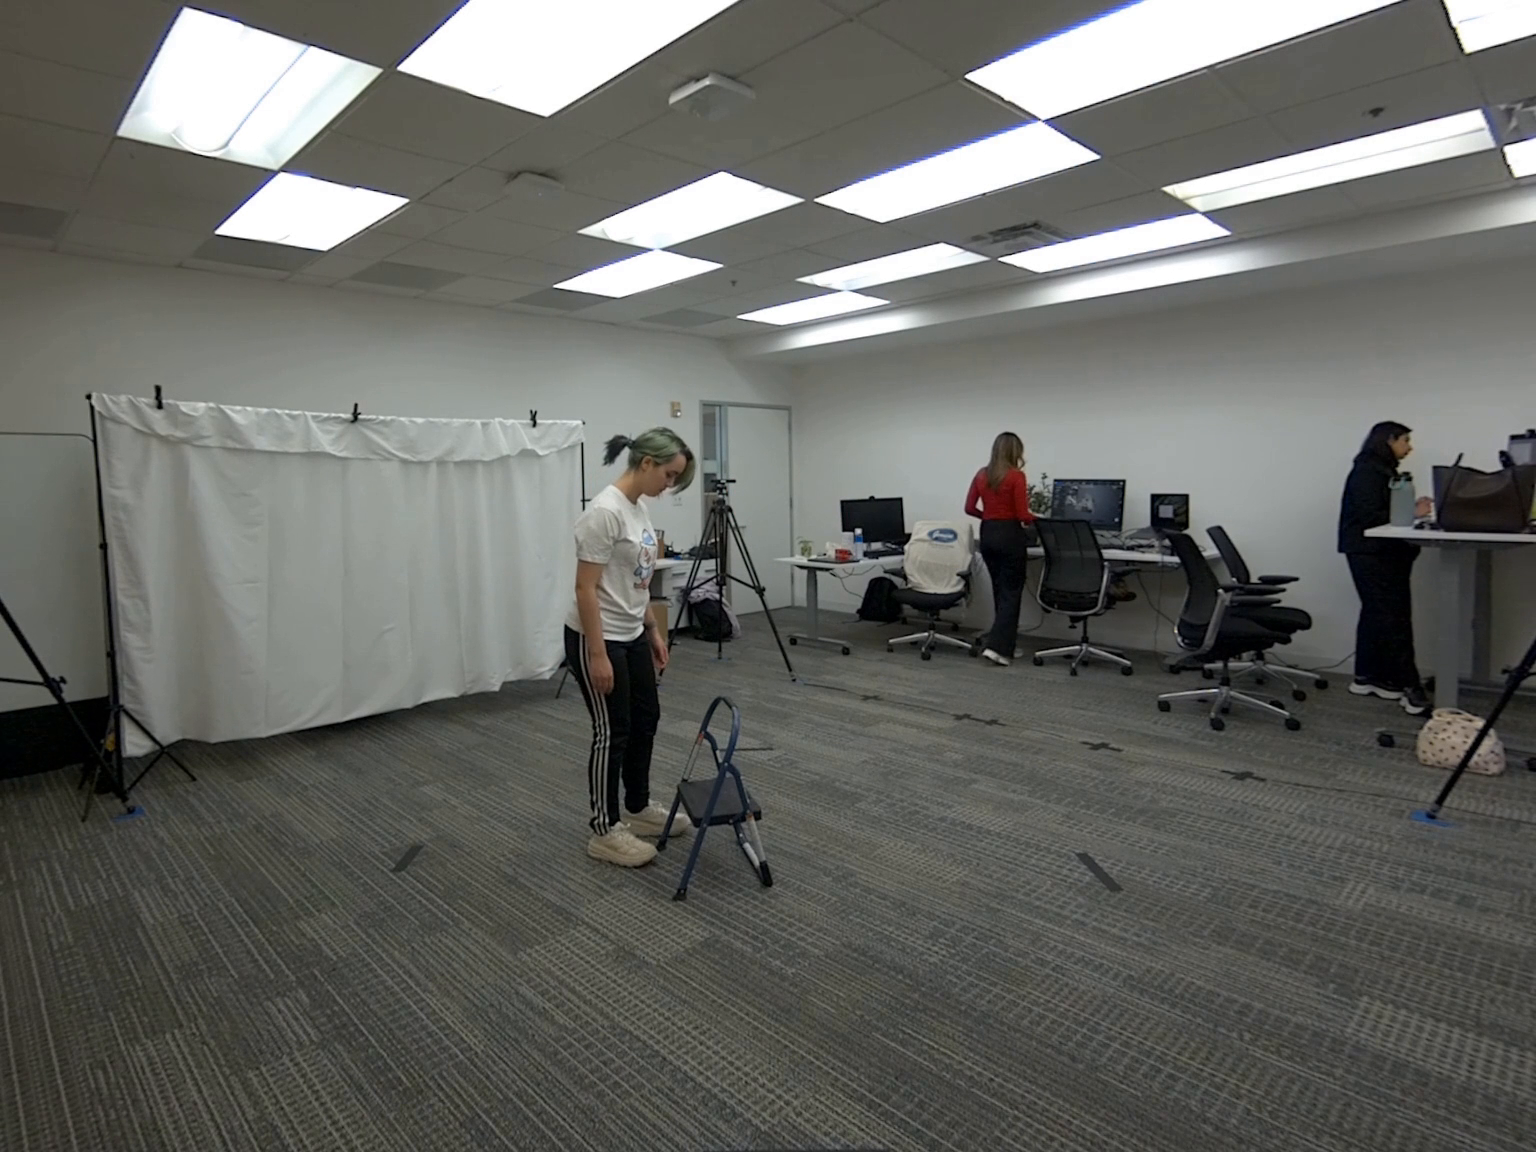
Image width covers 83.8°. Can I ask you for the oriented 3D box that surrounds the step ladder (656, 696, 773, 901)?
[{"bbox_3d":[-0.205,0.753,3.067,0.344,0.604,0.438,-2,5,-15],"label":"step ladder"}]
